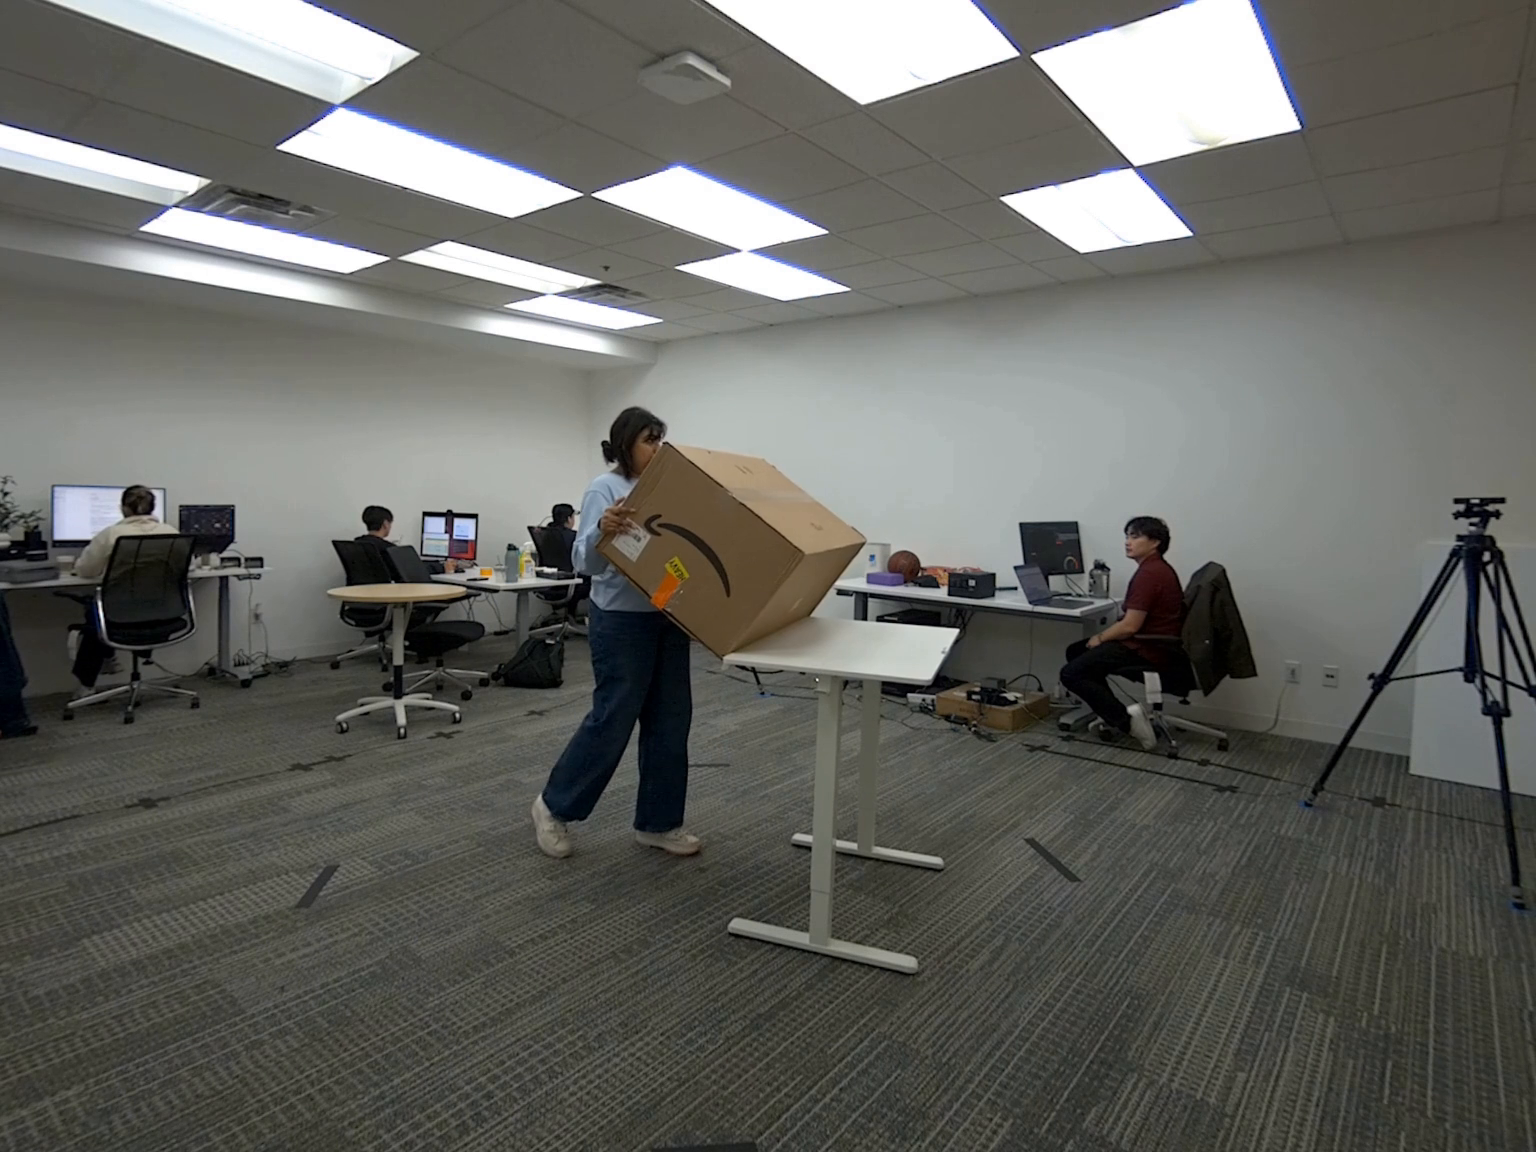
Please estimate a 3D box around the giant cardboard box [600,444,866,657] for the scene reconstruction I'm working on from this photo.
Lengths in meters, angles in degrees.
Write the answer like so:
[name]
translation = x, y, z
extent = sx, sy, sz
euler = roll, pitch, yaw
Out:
[giant cardboard box]
translation = -0.091, -0.123, 3.103
extent = 0.589, 0.425, 1.008
euler = 39, 15, 12
